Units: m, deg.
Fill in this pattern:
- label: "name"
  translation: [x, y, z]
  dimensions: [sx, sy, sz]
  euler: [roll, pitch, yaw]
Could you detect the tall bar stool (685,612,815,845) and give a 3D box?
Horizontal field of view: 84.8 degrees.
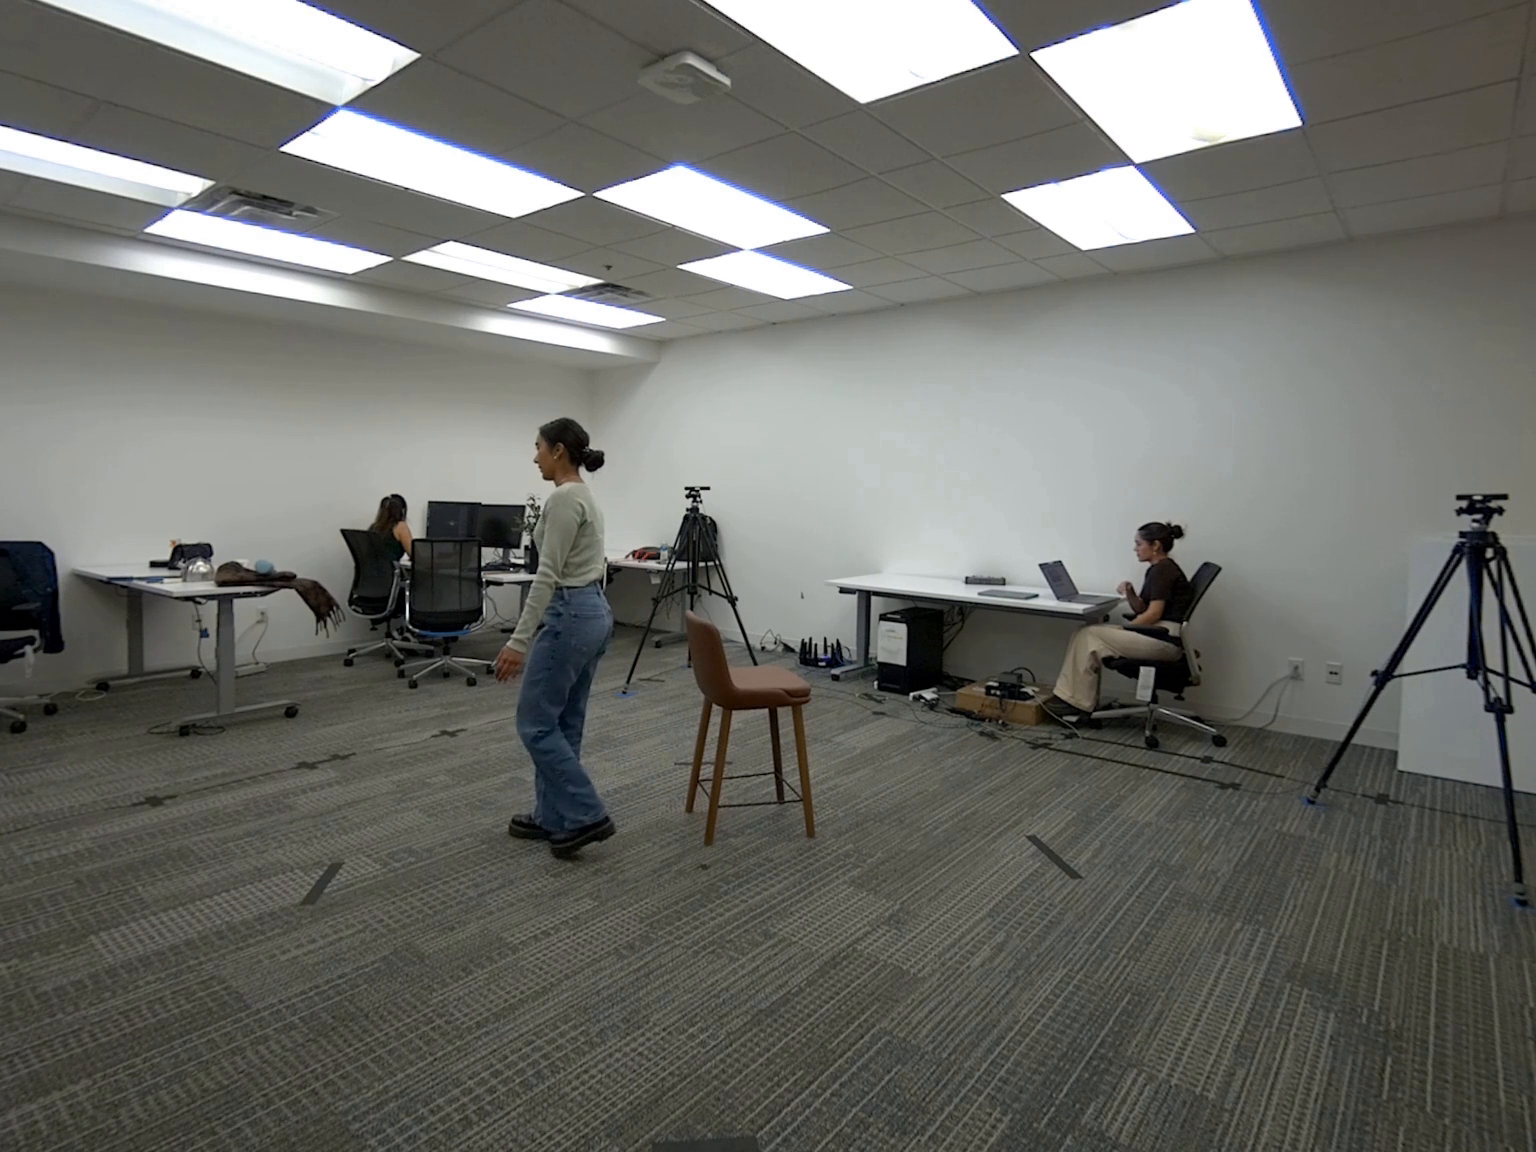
- label: "tall bar stool"
  translation: [-0.095, 0.591, 3.515]
  dimensions: [0.460, 0.887, 0.465]
  euler: [-2, 4, -17]
